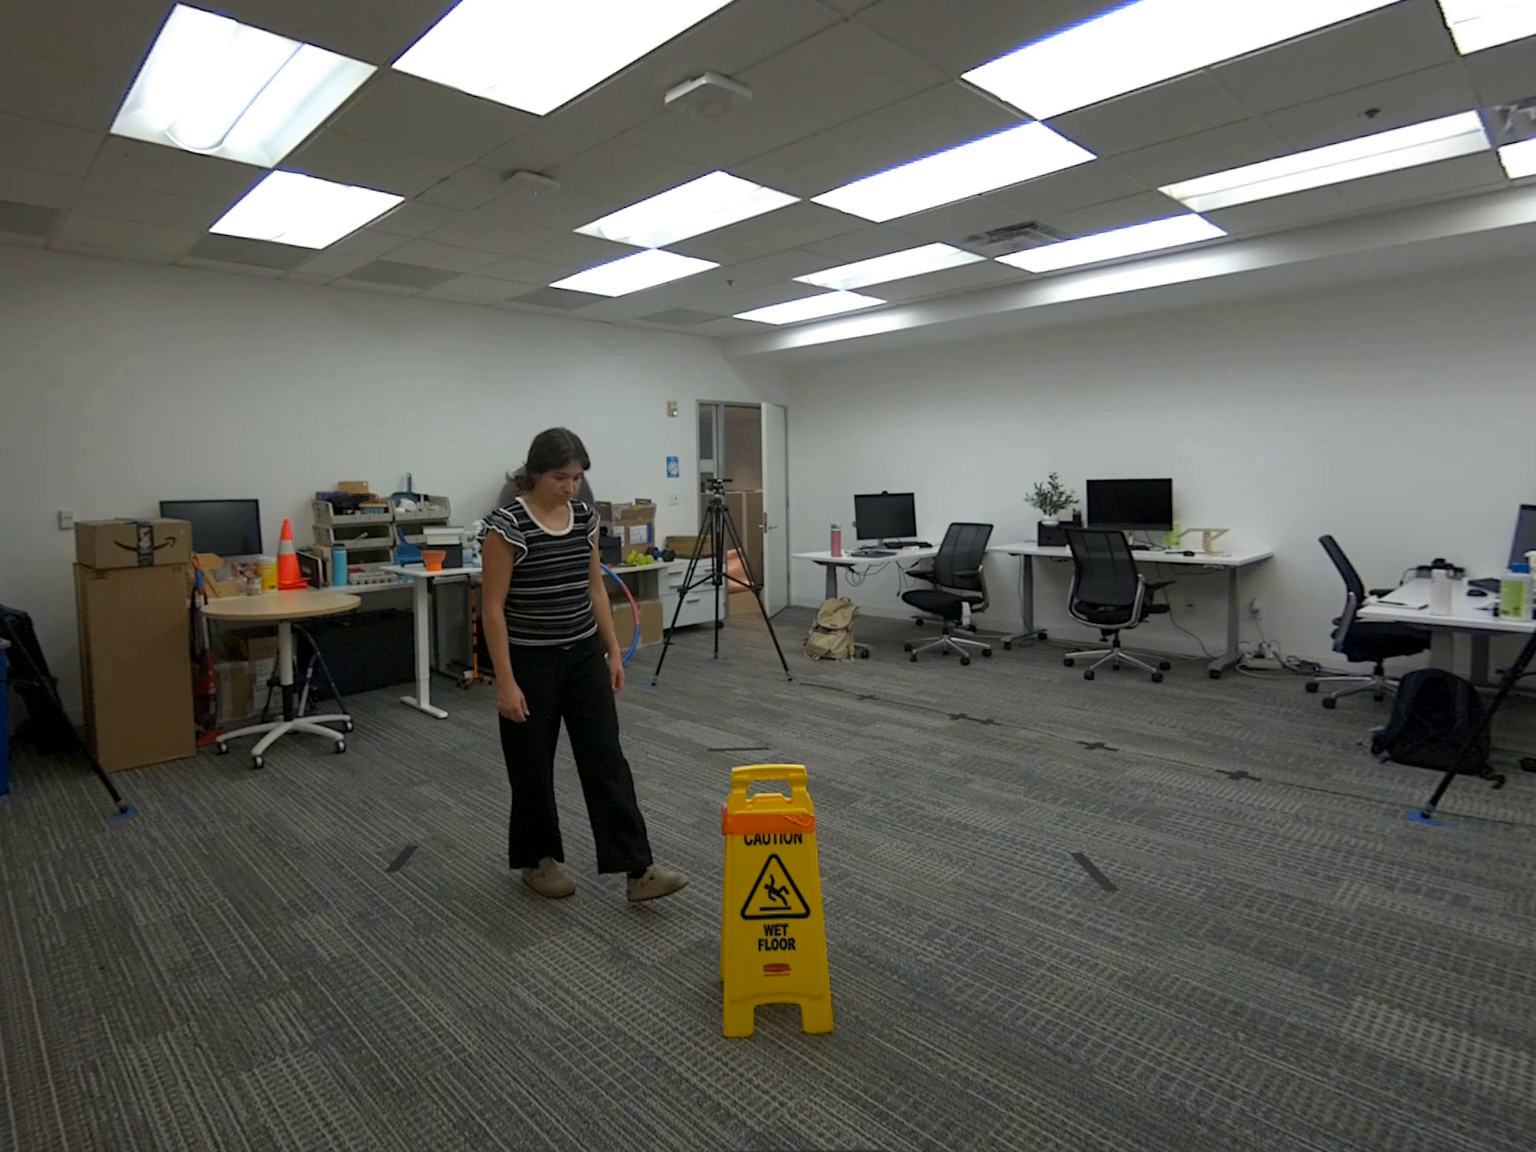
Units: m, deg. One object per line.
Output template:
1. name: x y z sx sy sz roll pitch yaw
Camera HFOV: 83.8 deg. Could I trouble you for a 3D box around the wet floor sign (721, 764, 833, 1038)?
1. wet floor sign: 0.011 0.820 2.242 0.281 0.644 0.291 -3 4 -3
